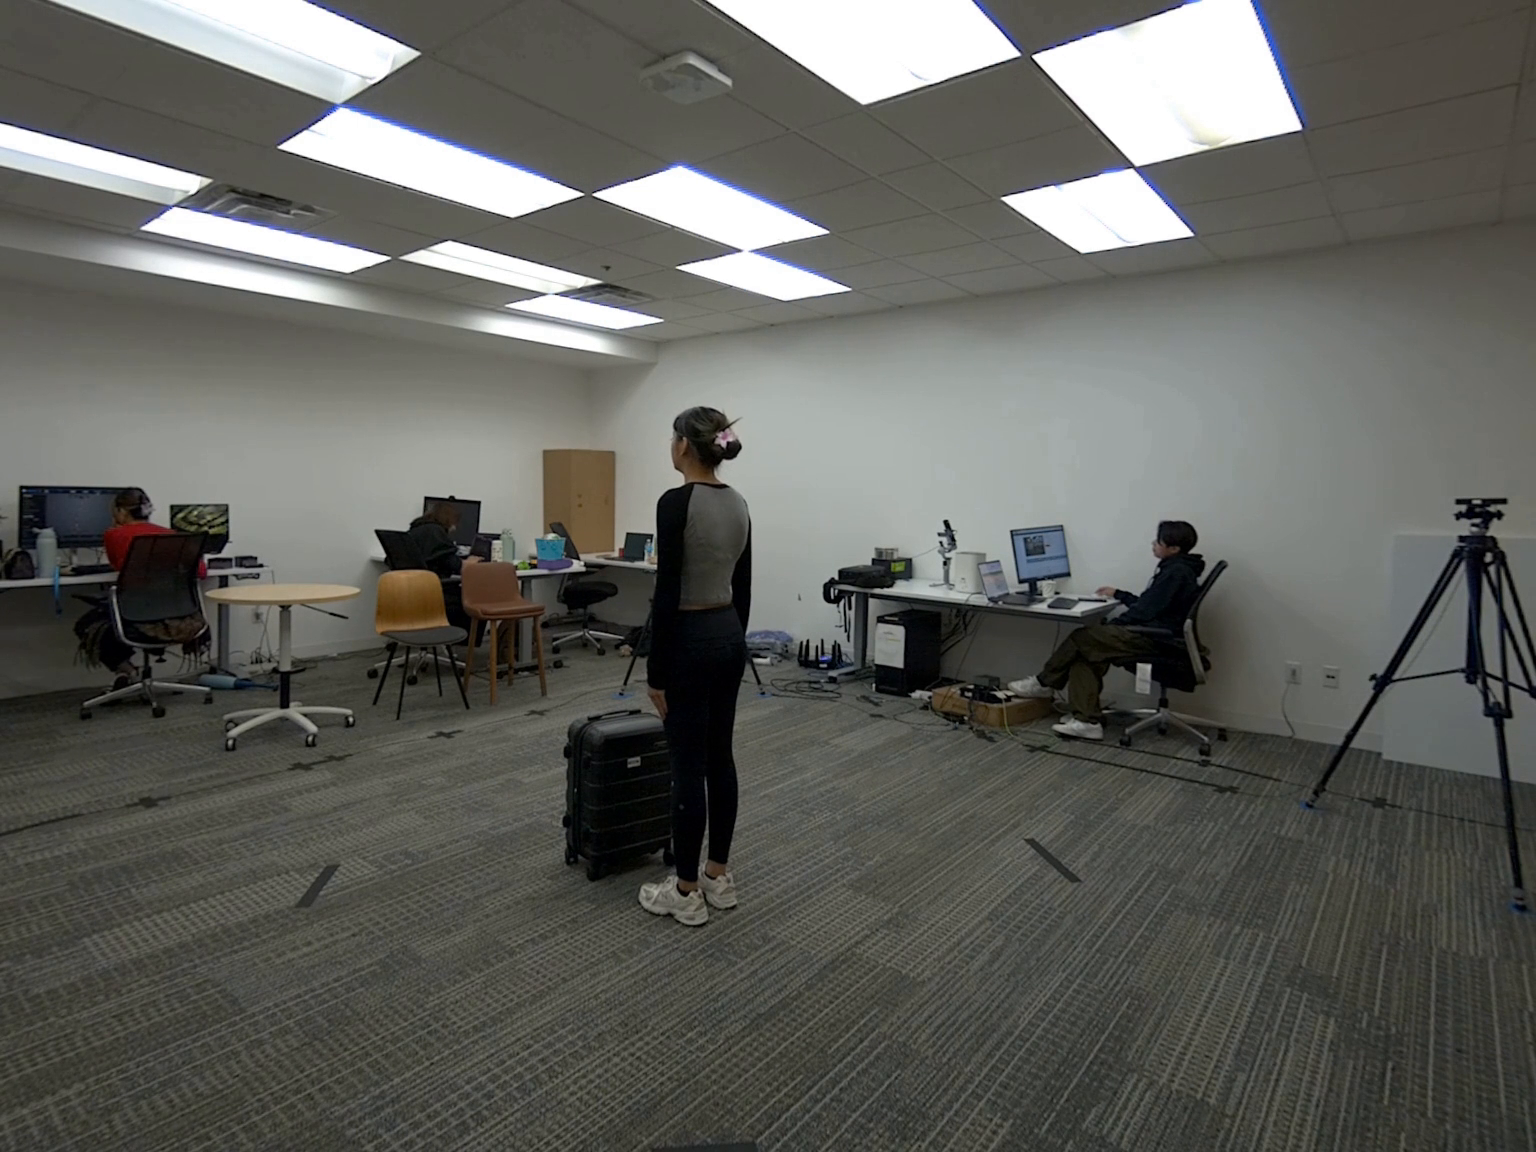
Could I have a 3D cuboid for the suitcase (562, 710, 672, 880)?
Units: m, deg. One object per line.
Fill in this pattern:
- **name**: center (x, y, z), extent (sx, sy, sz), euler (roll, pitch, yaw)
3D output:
- **suitcase**: center (-0.559, 0.780, 3.150), extent (0.364, 0.548, 0.256), euler (0, 3, -36)
